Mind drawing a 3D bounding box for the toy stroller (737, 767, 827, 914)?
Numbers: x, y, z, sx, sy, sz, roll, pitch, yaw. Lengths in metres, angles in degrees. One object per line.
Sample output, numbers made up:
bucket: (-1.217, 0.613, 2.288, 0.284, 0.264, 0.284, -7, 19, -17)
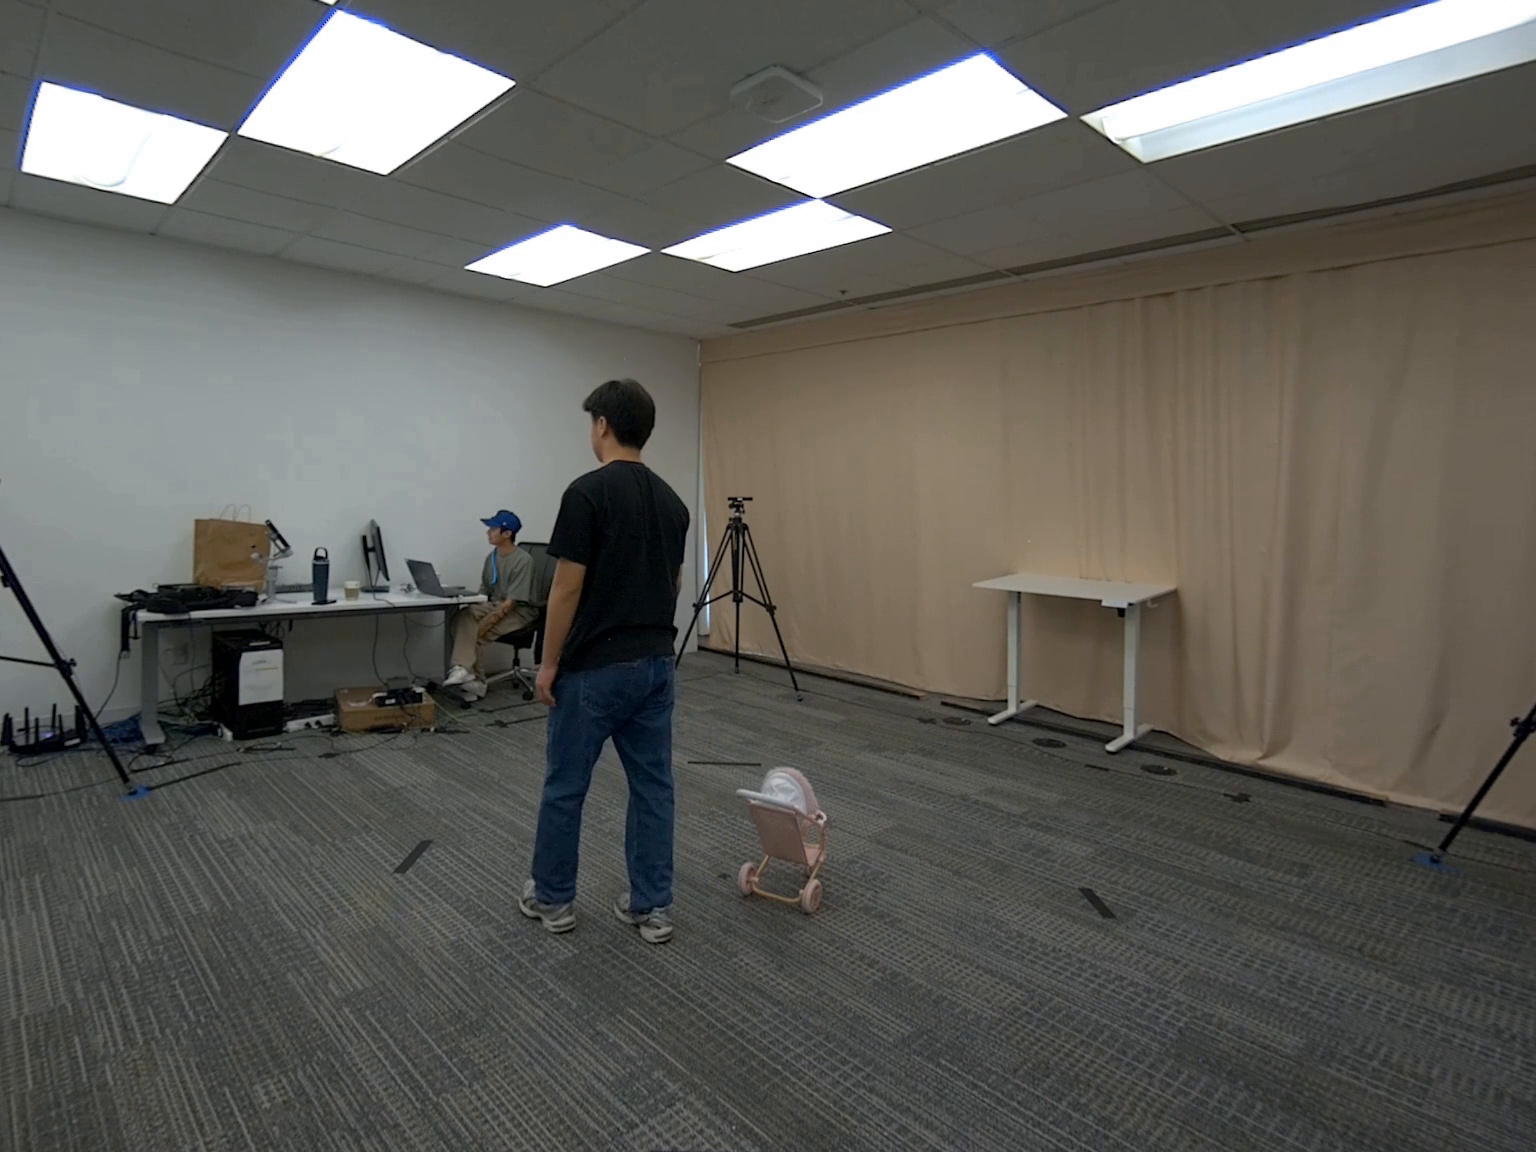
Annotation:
toy stroller: (0.068, 0.902, 2.948, 0.288, 0.527, 0.338, 5, 21, 32)
